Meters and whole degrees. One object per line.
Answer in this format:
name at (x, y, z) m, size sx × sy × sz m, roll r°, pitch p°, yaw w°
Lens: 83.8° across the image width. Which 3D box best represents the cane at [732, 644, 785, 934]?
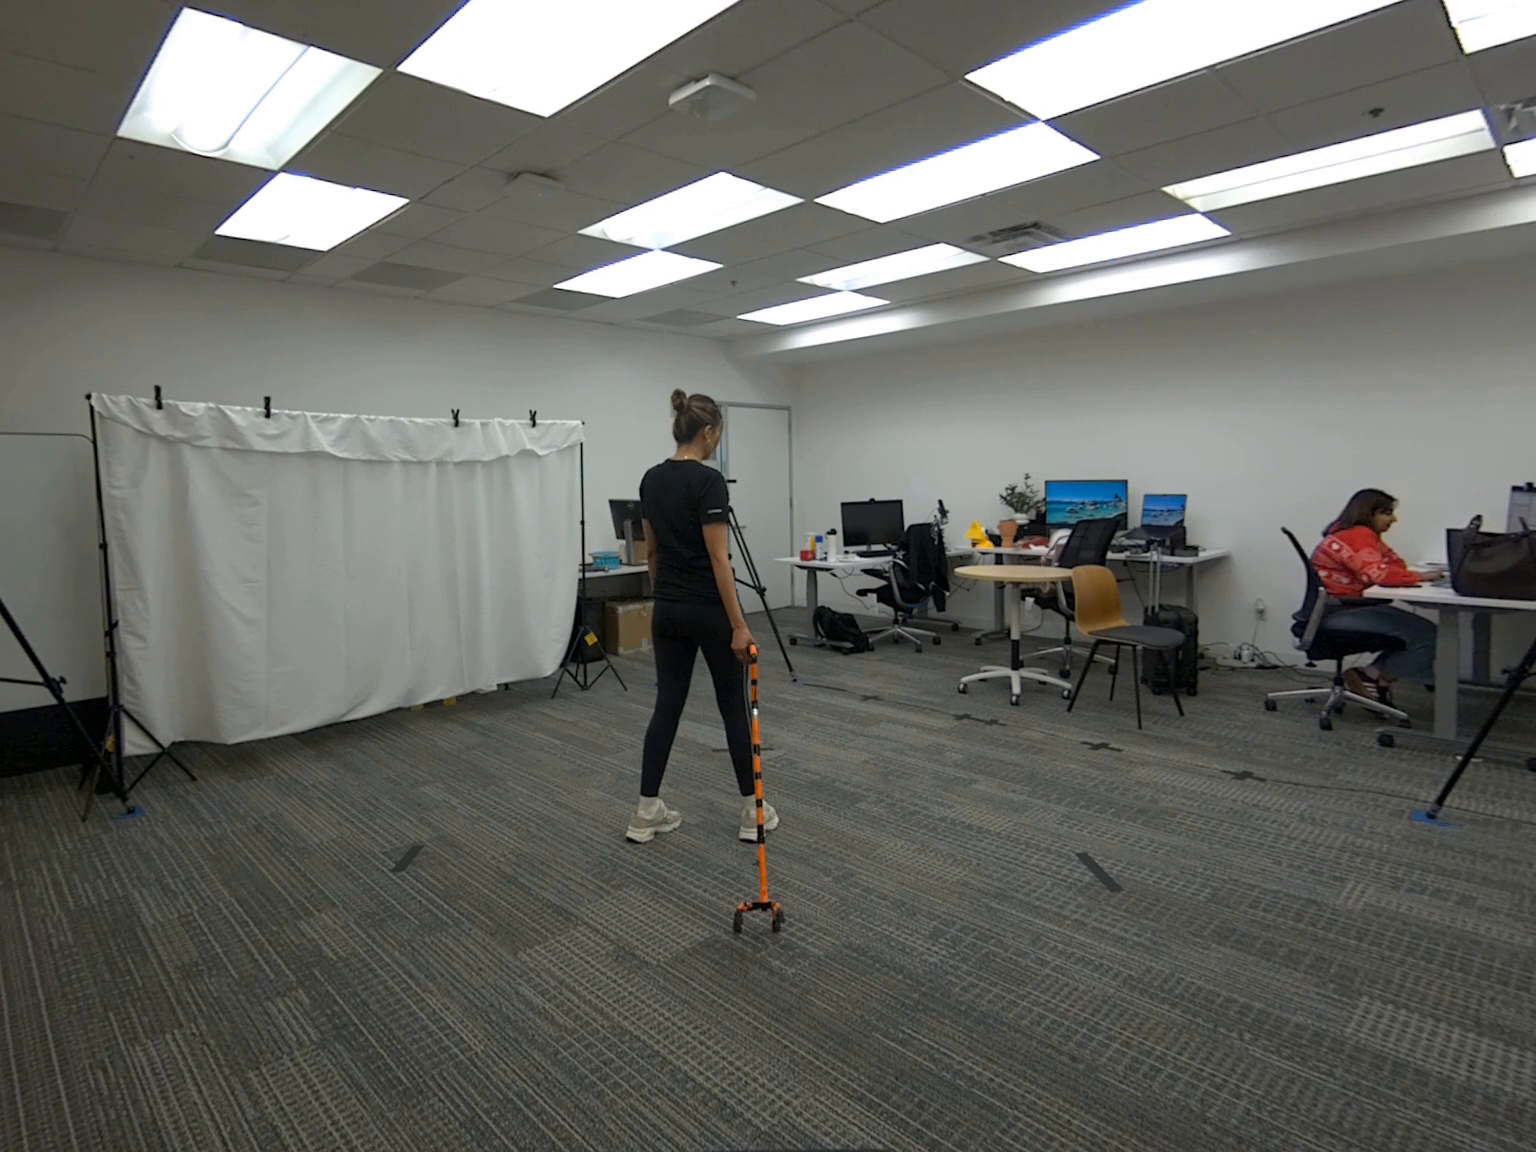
cane at (-0.050, 0.656, 2.793) m, size 0.151 × 0.931 × 0.202 m, roll -2°, pitch -30°, yaw -4°
